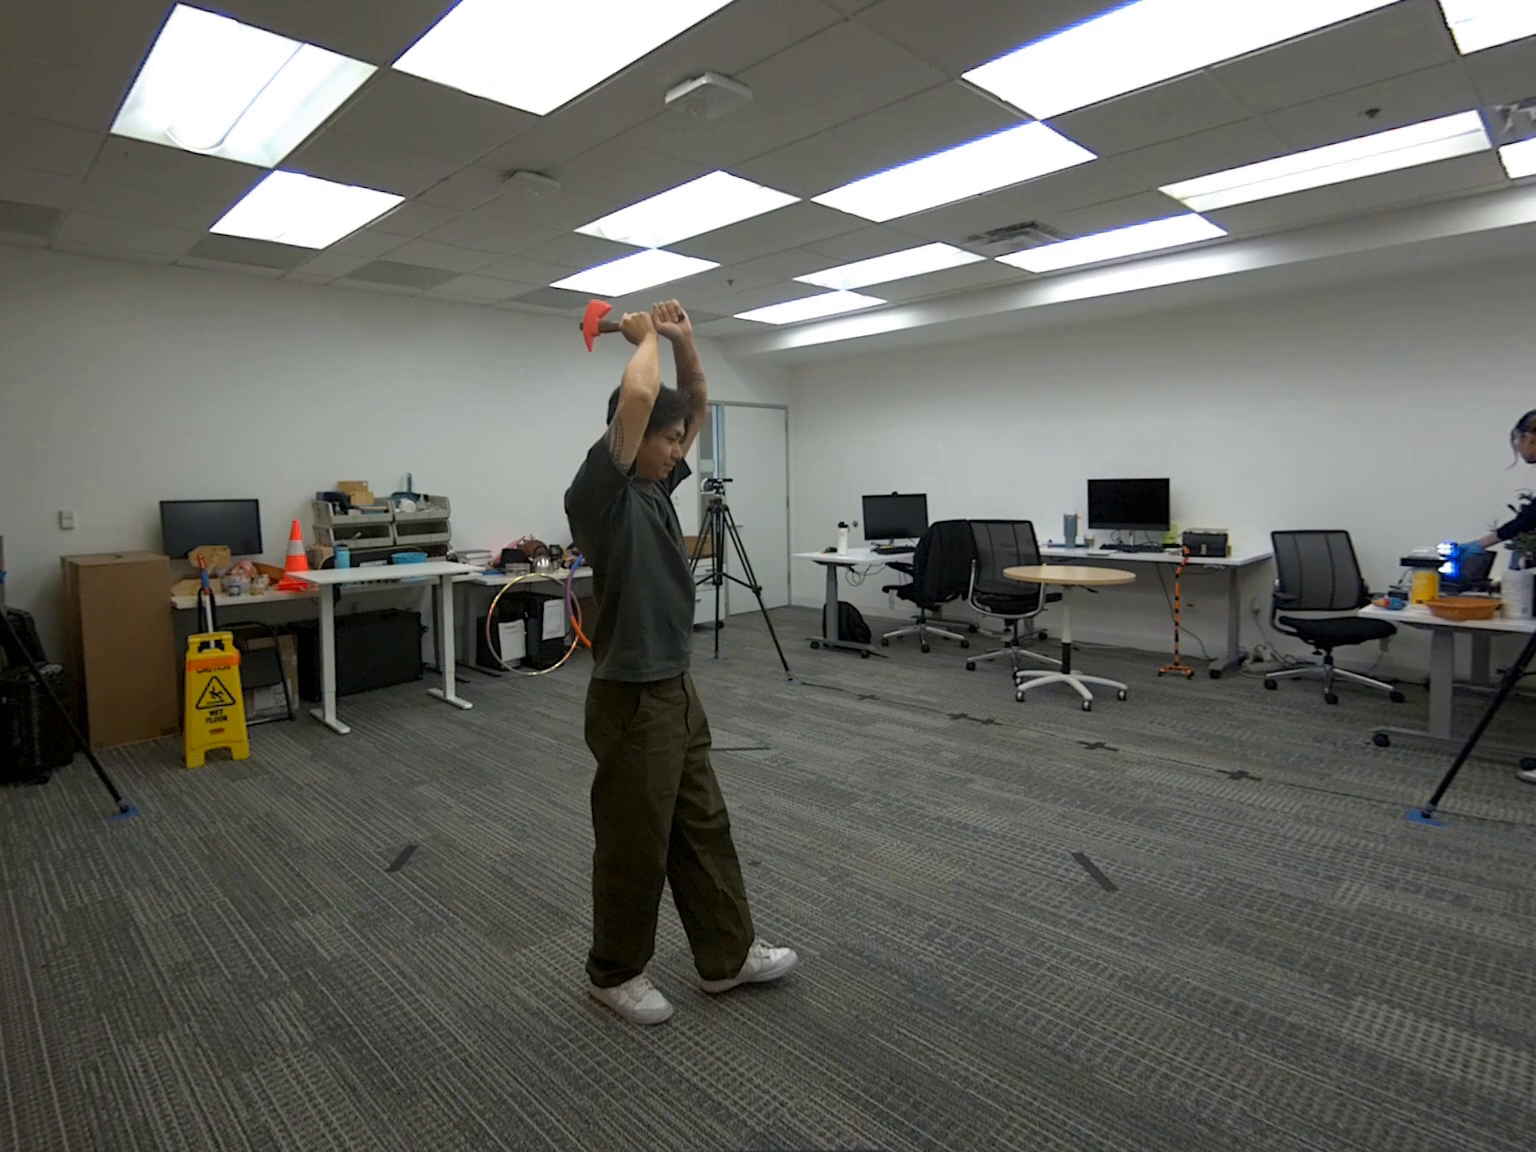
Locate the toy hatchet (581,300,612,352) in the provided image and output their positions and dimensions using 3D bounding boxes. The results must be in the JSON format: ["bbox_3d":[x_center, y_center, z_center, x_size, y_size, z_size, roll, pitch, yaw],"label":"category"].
[{"bbox_3d":[-0.349,-0.670,2.193,0.272,0.132,0.029,-16,-6,9],"label":"toy hatchet"}]
